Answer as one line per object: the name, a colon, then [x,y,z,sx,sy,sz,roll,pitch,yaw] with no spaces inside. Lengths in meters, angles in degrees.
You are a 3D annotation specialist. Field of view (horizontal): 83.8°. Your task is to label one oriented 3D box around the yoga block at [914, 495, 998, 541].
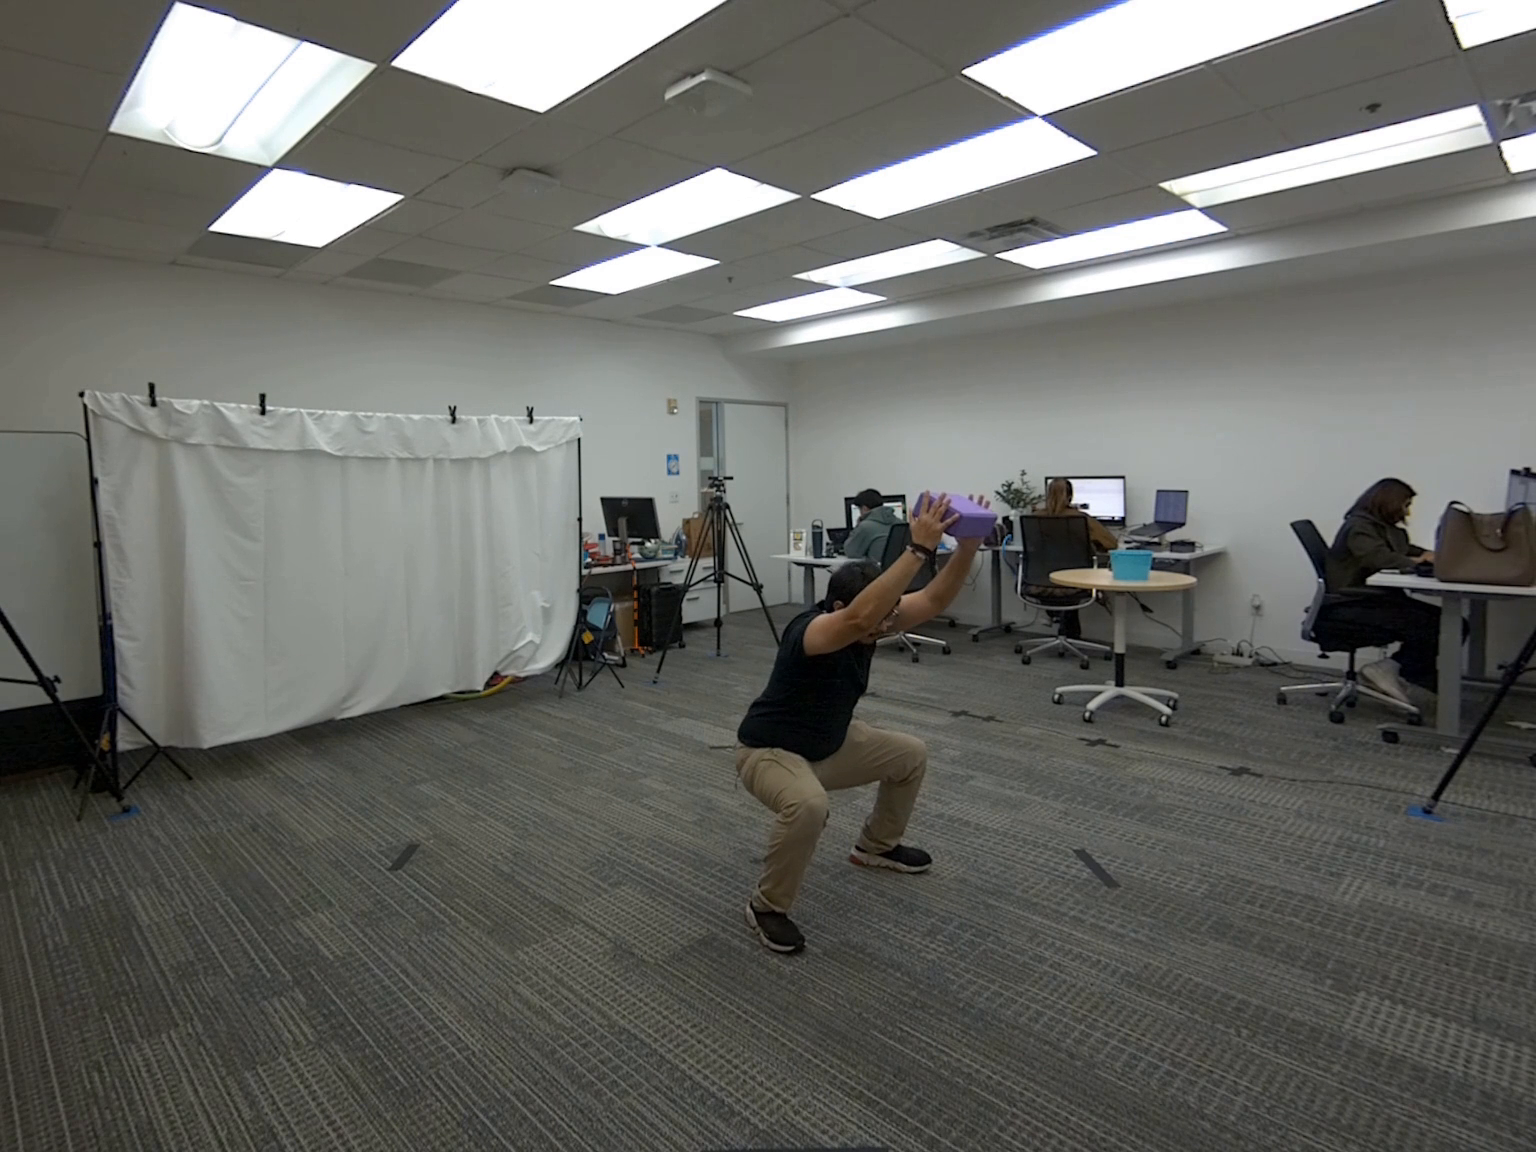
yoga block: [0.542,-0.181,2.445,0.154,0.076,0.223,36,24,34]
